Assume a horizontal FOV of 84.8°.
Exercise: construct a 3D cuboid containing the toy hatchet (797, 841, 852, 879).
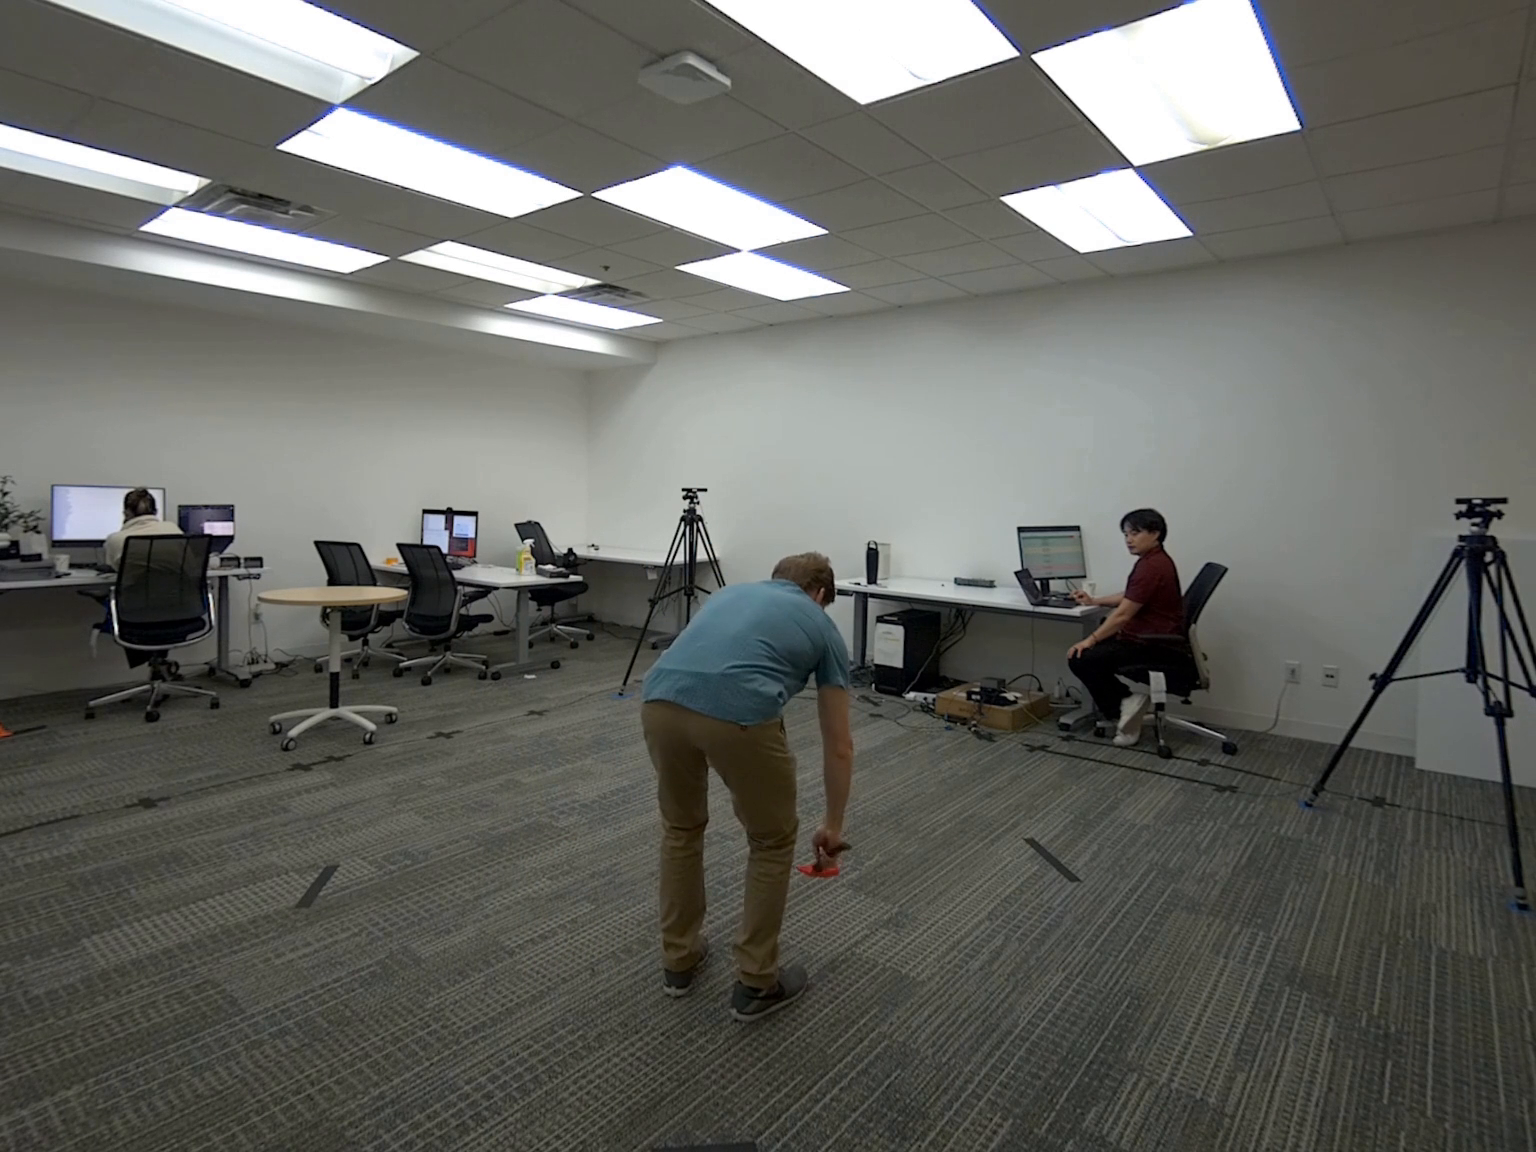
[{"bbox_3d":[0.187,0.842,2.535,0.128,0.030,0.270,28,-41,-16],"label":"toy hatchet"}]
